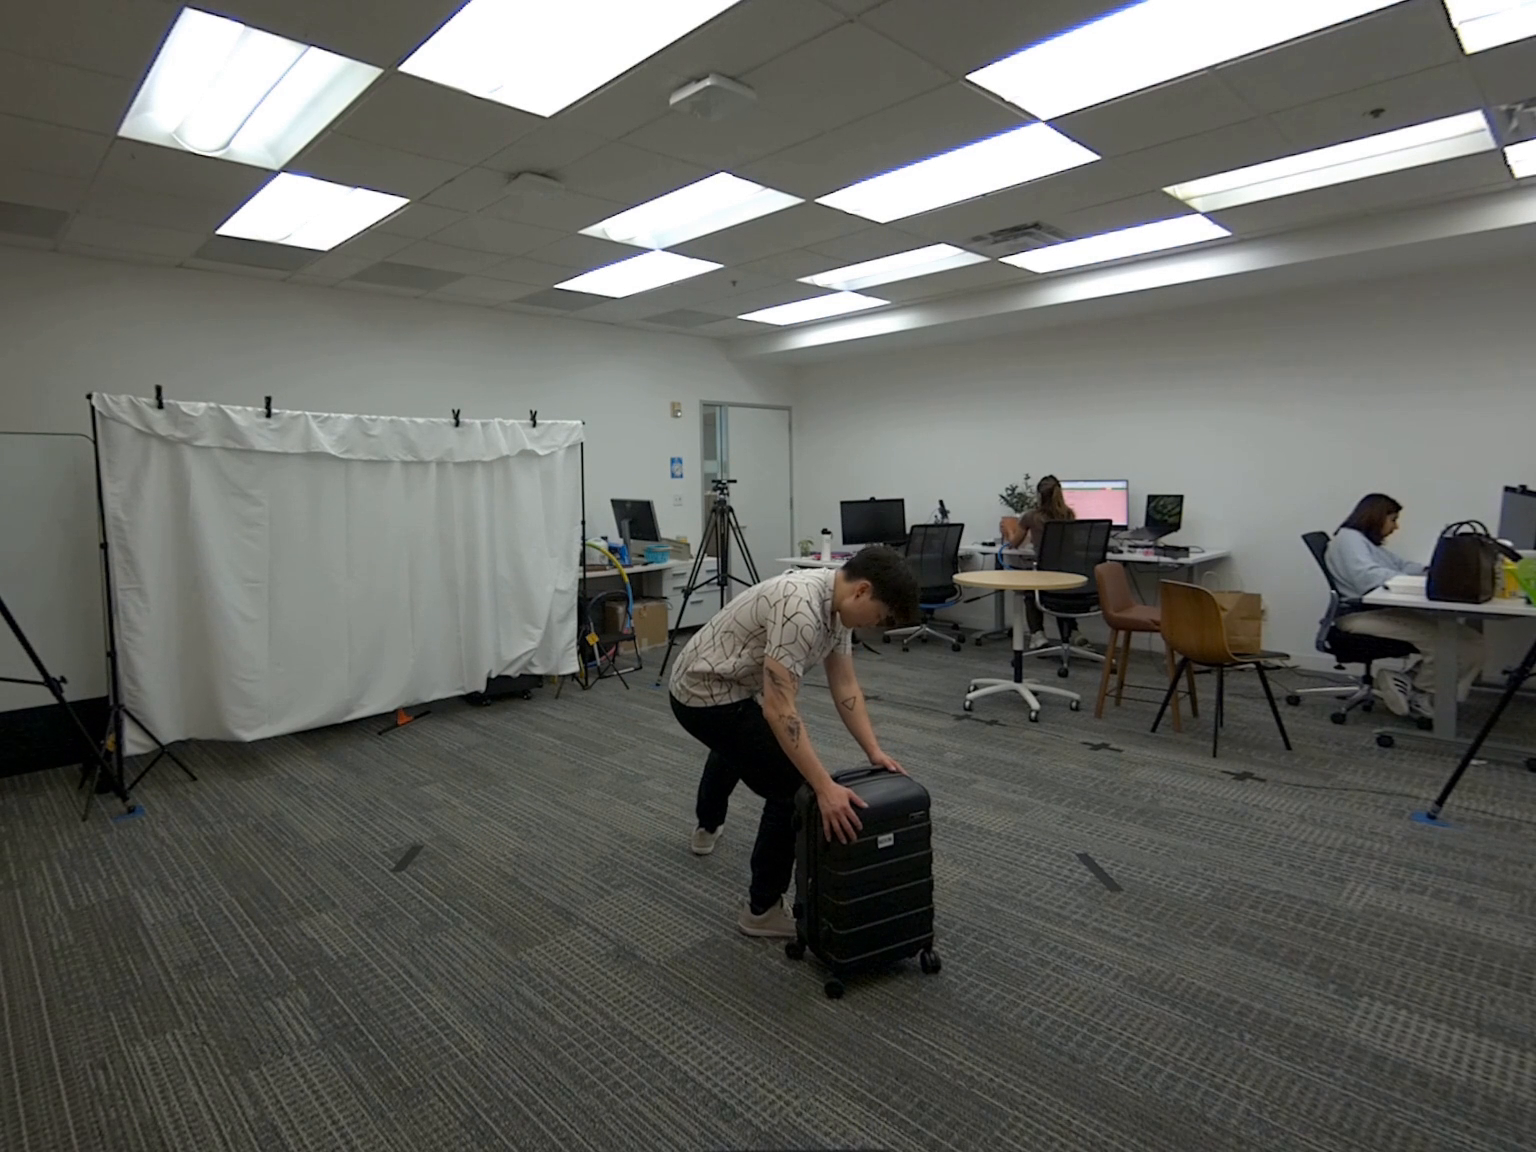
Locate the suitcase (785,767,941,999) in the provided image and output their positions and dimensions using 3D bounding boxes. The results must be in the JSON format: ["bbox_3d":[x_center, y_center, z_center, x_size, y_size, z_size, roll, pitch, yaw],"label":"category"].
[{"bbox_3d":[0.284,0.840,2.445,0.367,0.548,0.254,-2,3,-27],"label":"suitcase"}]
